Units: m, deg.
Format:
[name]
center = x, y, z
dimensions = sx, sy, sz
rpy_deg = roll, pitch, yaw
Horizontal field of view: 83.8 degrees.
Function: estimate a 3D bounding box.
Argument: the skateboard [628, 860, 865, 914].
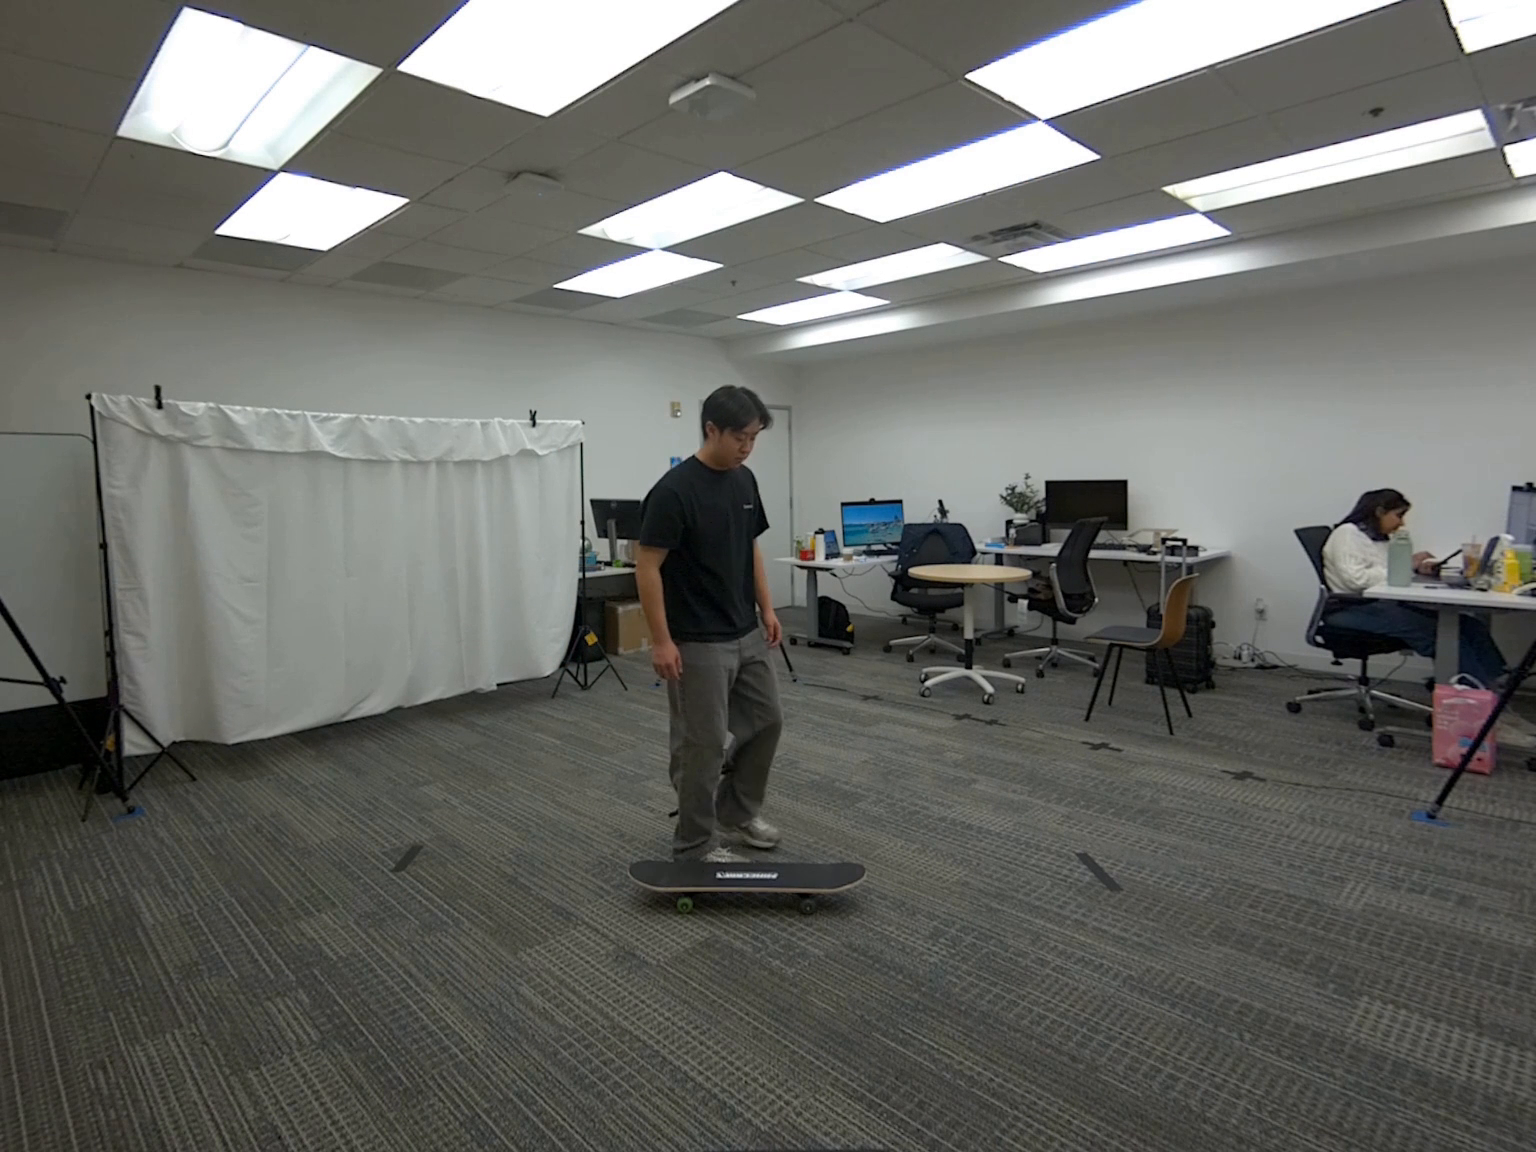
[skateboard]
center = -0.068, 1.019, 2.827
dimensions = 0.788, 0.110, 0.194
rpy_deg = -1, 7, 4
